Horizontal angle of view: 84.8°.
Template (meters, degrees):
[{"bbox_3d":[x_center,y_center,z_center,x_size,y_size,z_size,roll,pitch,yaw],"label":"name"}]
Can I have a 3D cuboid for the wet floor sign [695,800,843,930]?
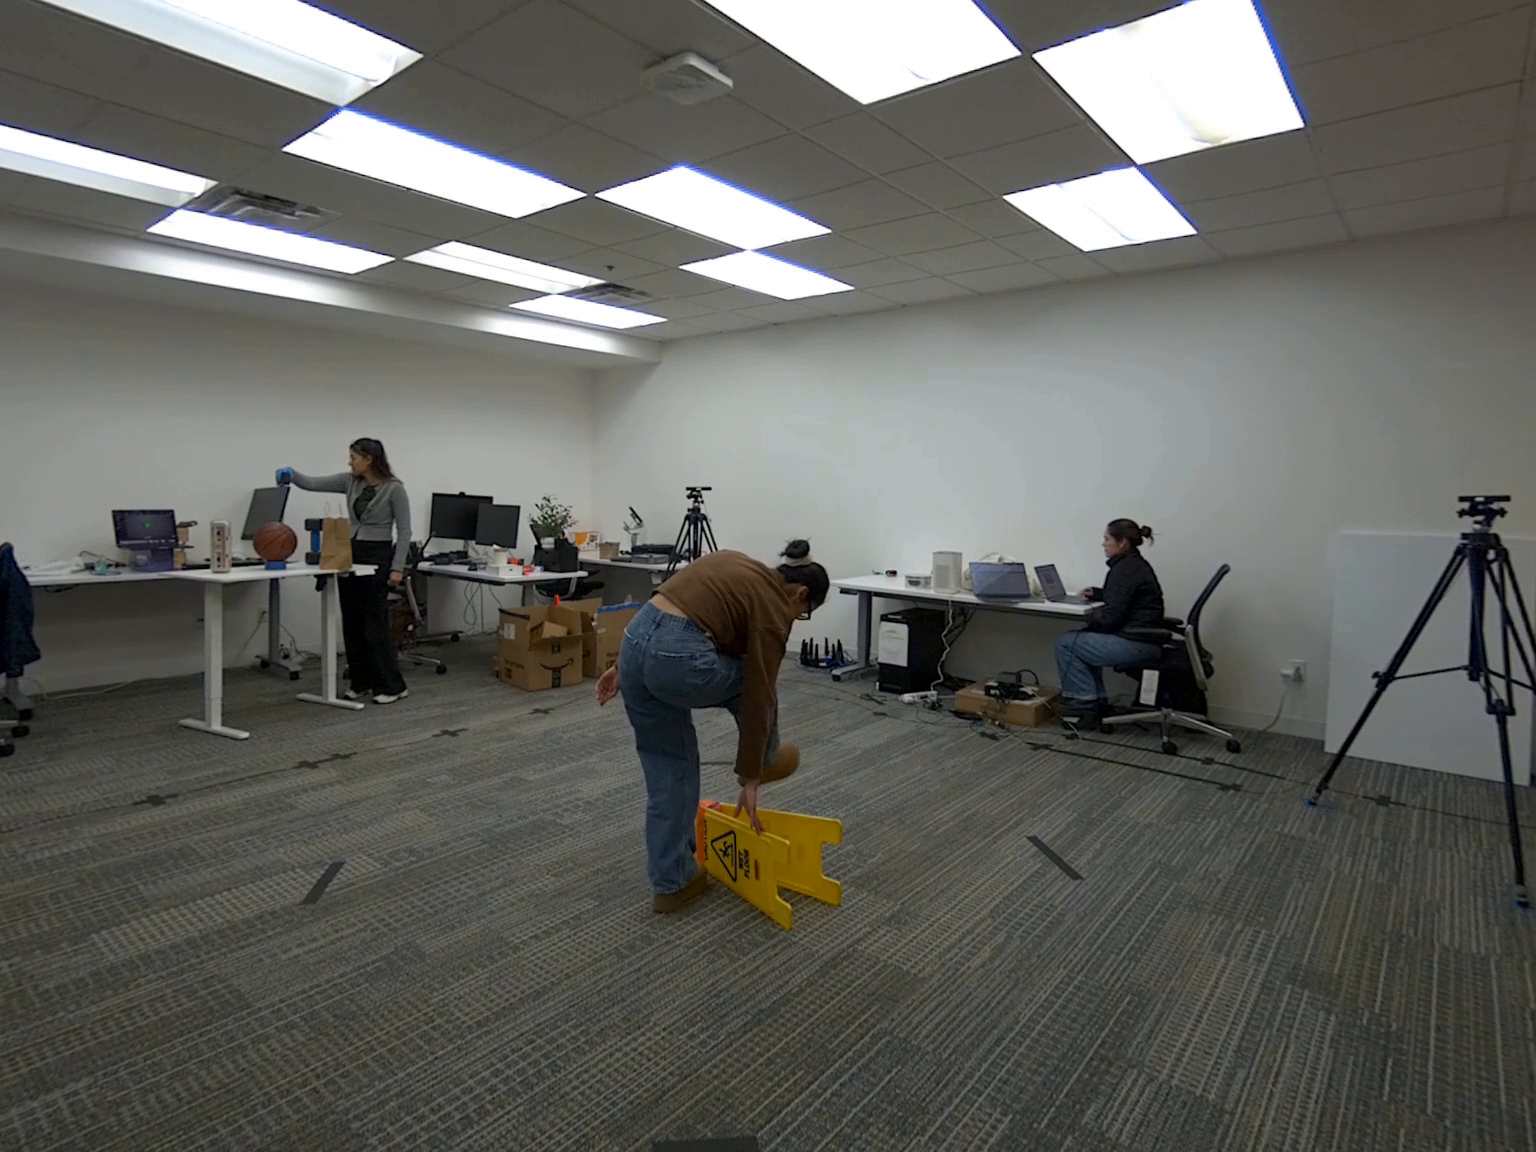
[{"bbox_3d":[-0.093,0.952,2.987,0.667,0.282,0.281,2,4,44],"label":"wet floor sign"}]
